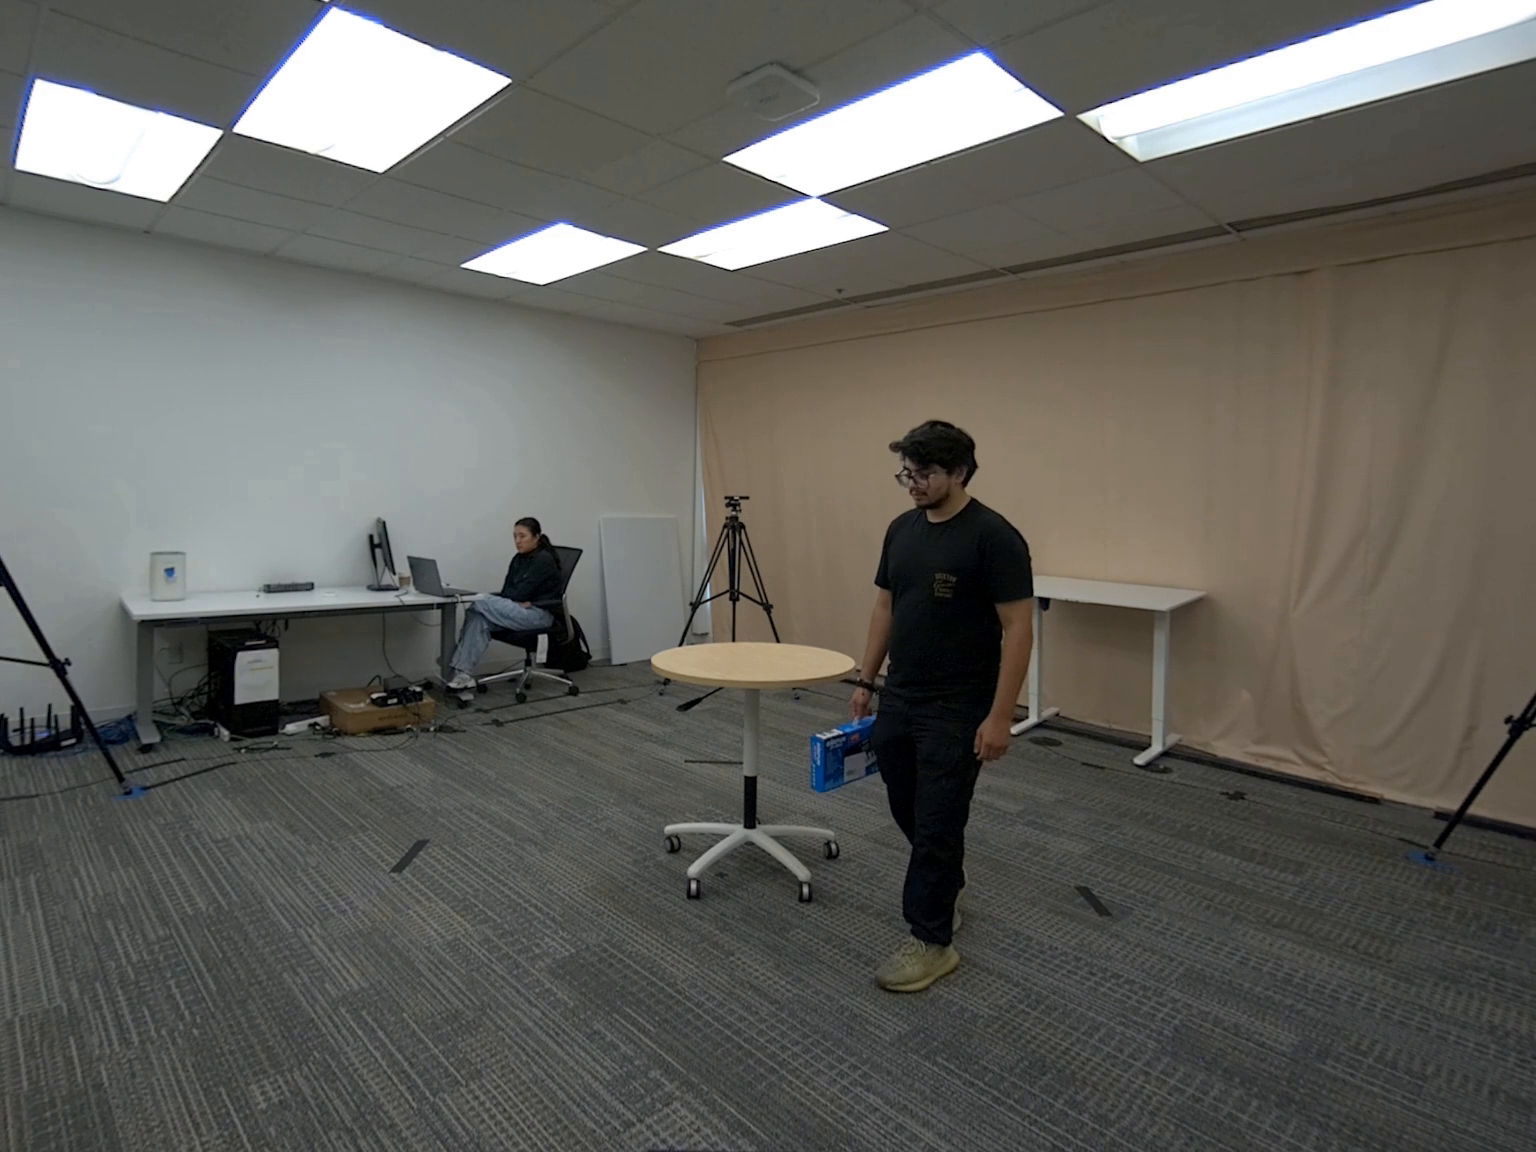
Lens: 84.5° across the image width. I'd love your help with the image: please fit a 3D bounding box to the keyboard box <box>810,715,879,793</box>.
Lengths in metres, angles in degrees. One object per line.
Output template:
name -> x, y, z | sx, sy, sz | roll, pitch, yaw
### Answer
keyboard box -> 0.313, 0.568, 2.768 | 0.428, 0.175, 0.060 | -7, 9, -39
